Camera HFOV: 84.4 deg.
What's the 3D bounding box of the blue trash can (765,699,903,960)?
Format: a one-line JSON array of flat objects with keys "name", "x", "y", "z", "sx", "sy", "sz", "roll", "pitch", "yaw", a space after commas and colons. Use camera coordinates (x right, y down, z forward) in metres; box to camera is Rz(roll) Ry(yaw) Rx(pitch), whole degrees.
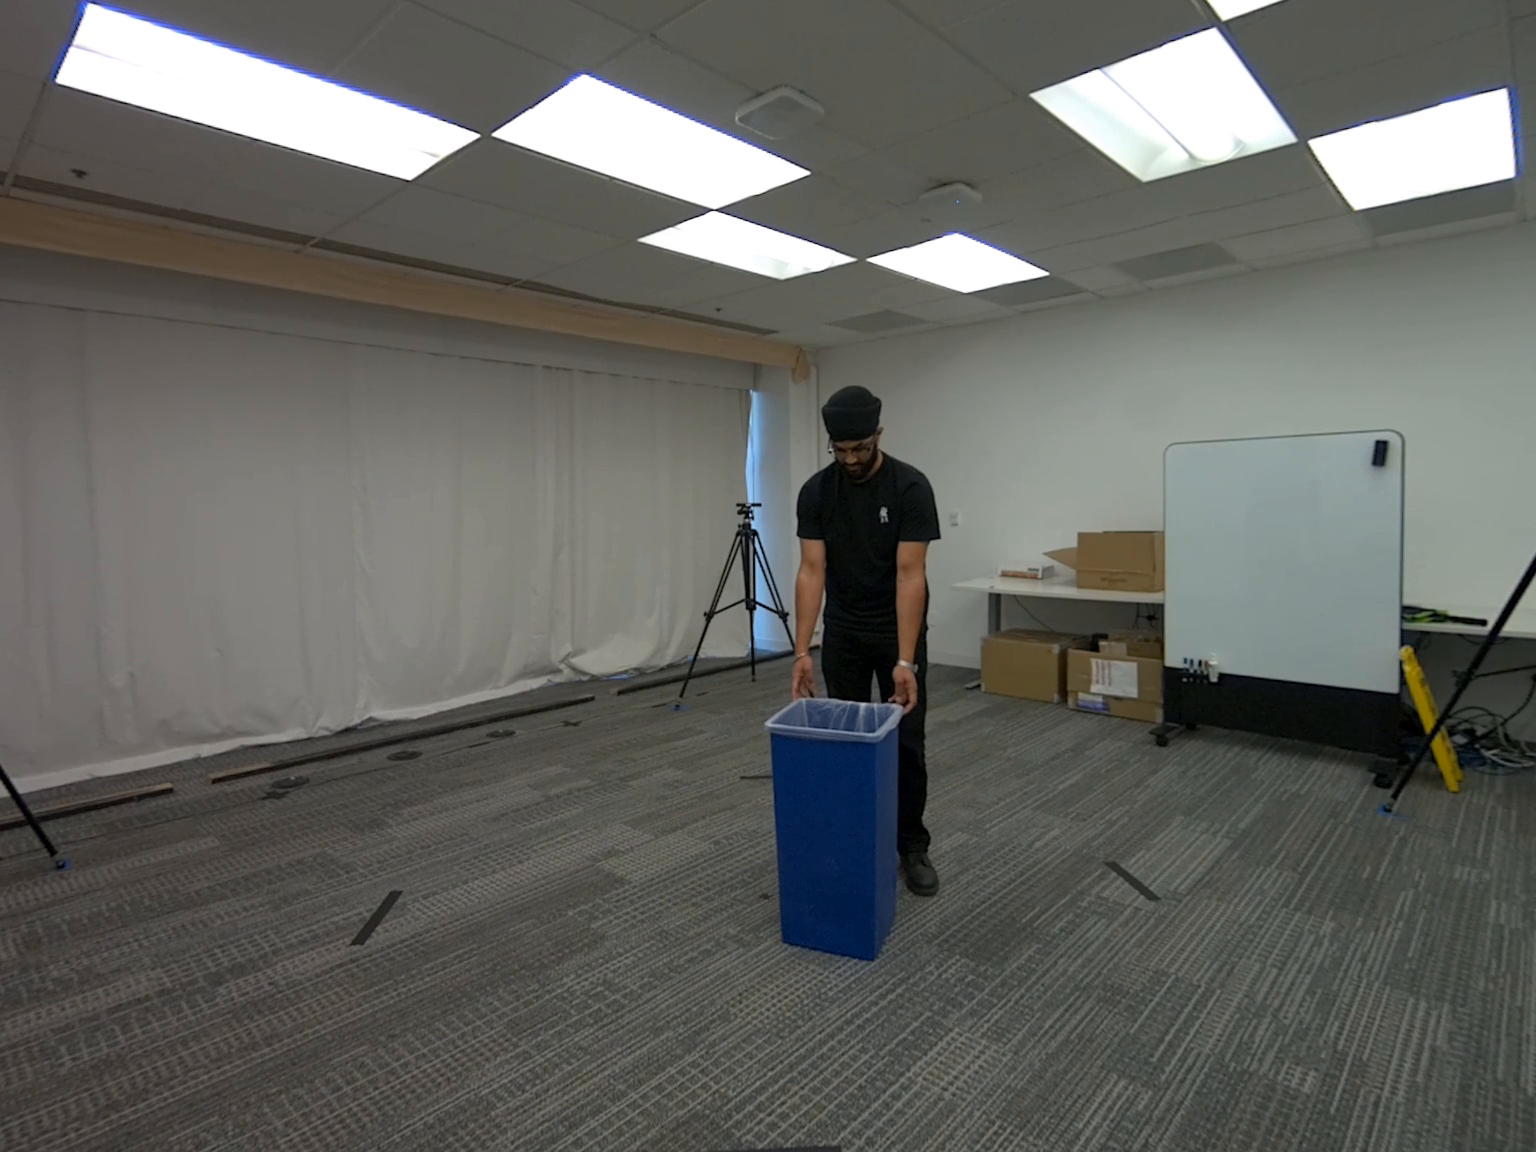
[{"name": "blue trash can", "x": 0.226, "y": 0.795, "z": 2.727, "sx": 0.387, "sy": 0.712, "sz": 0.366, "roll": 0, "pitch": 4, "yaw": 23}]
